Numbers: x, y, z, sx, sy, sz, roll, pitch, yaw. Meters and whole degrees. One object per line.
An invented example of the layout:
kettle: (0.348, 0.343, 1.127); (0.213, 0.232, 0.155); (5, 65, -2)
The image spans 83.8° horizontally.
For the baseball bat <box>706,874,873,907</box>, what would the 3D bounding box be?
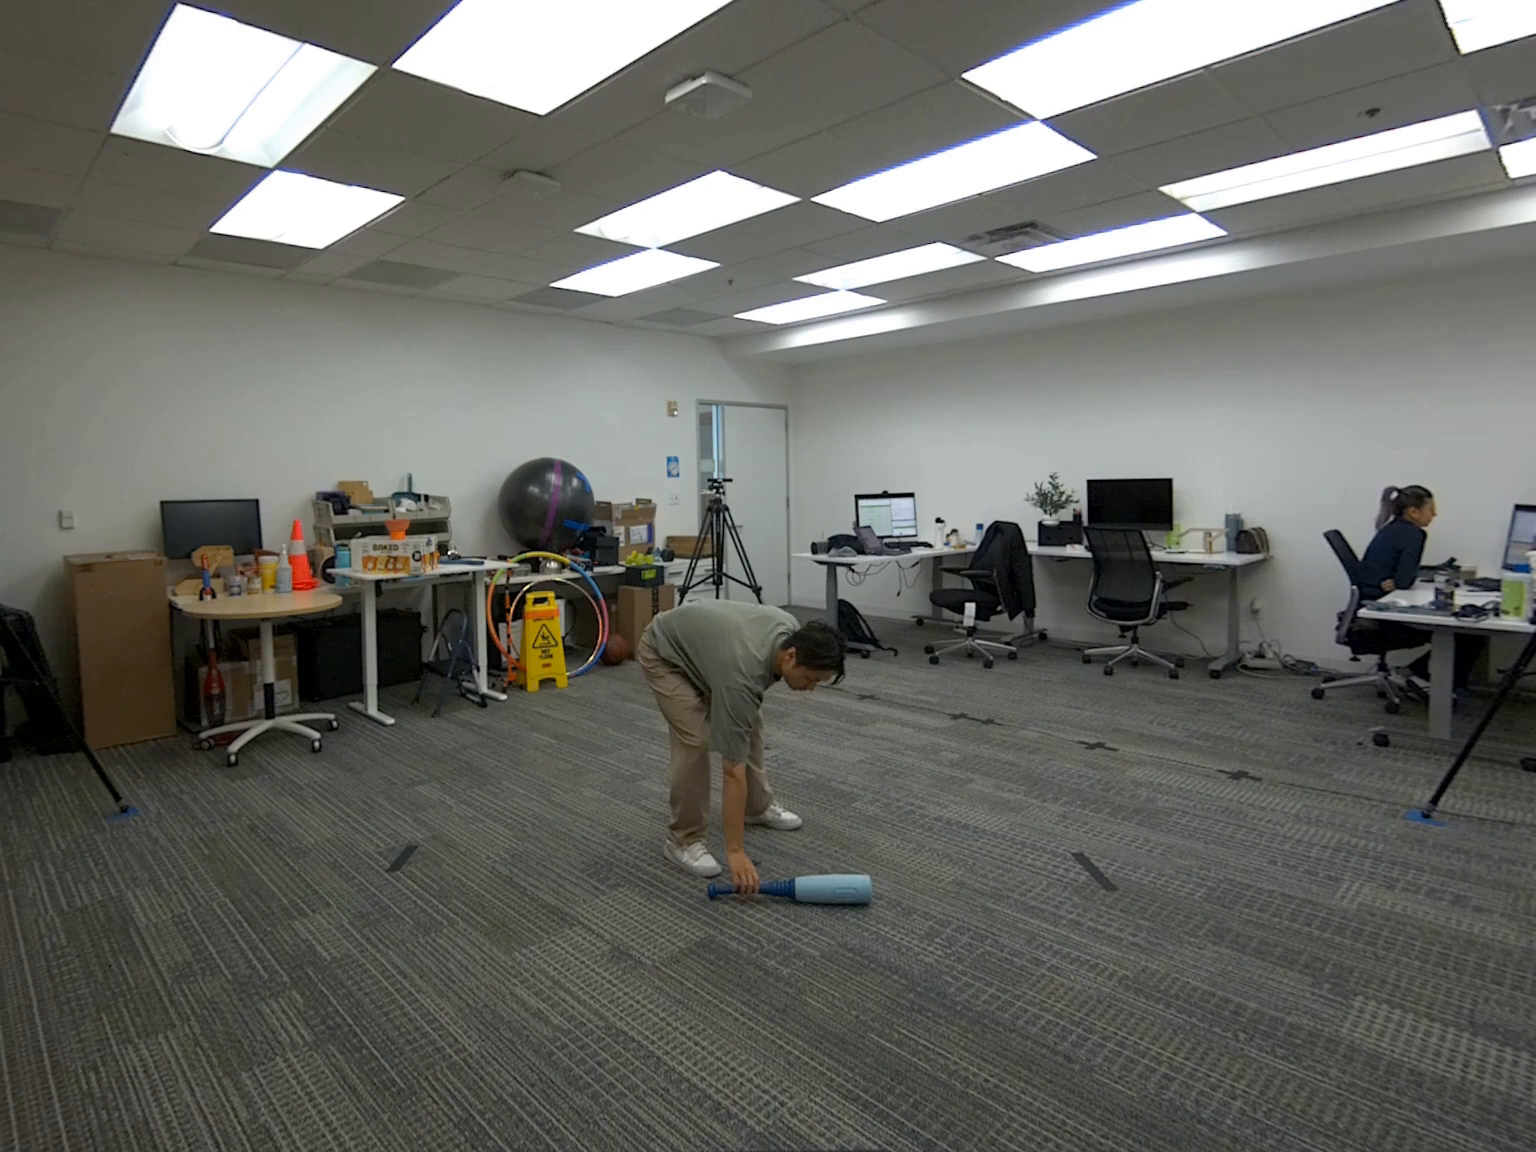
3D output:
baseball bat: (0.072, 1.035, 2.819); (0.546, 0.089, 0.089); (-3, 5, 6)
